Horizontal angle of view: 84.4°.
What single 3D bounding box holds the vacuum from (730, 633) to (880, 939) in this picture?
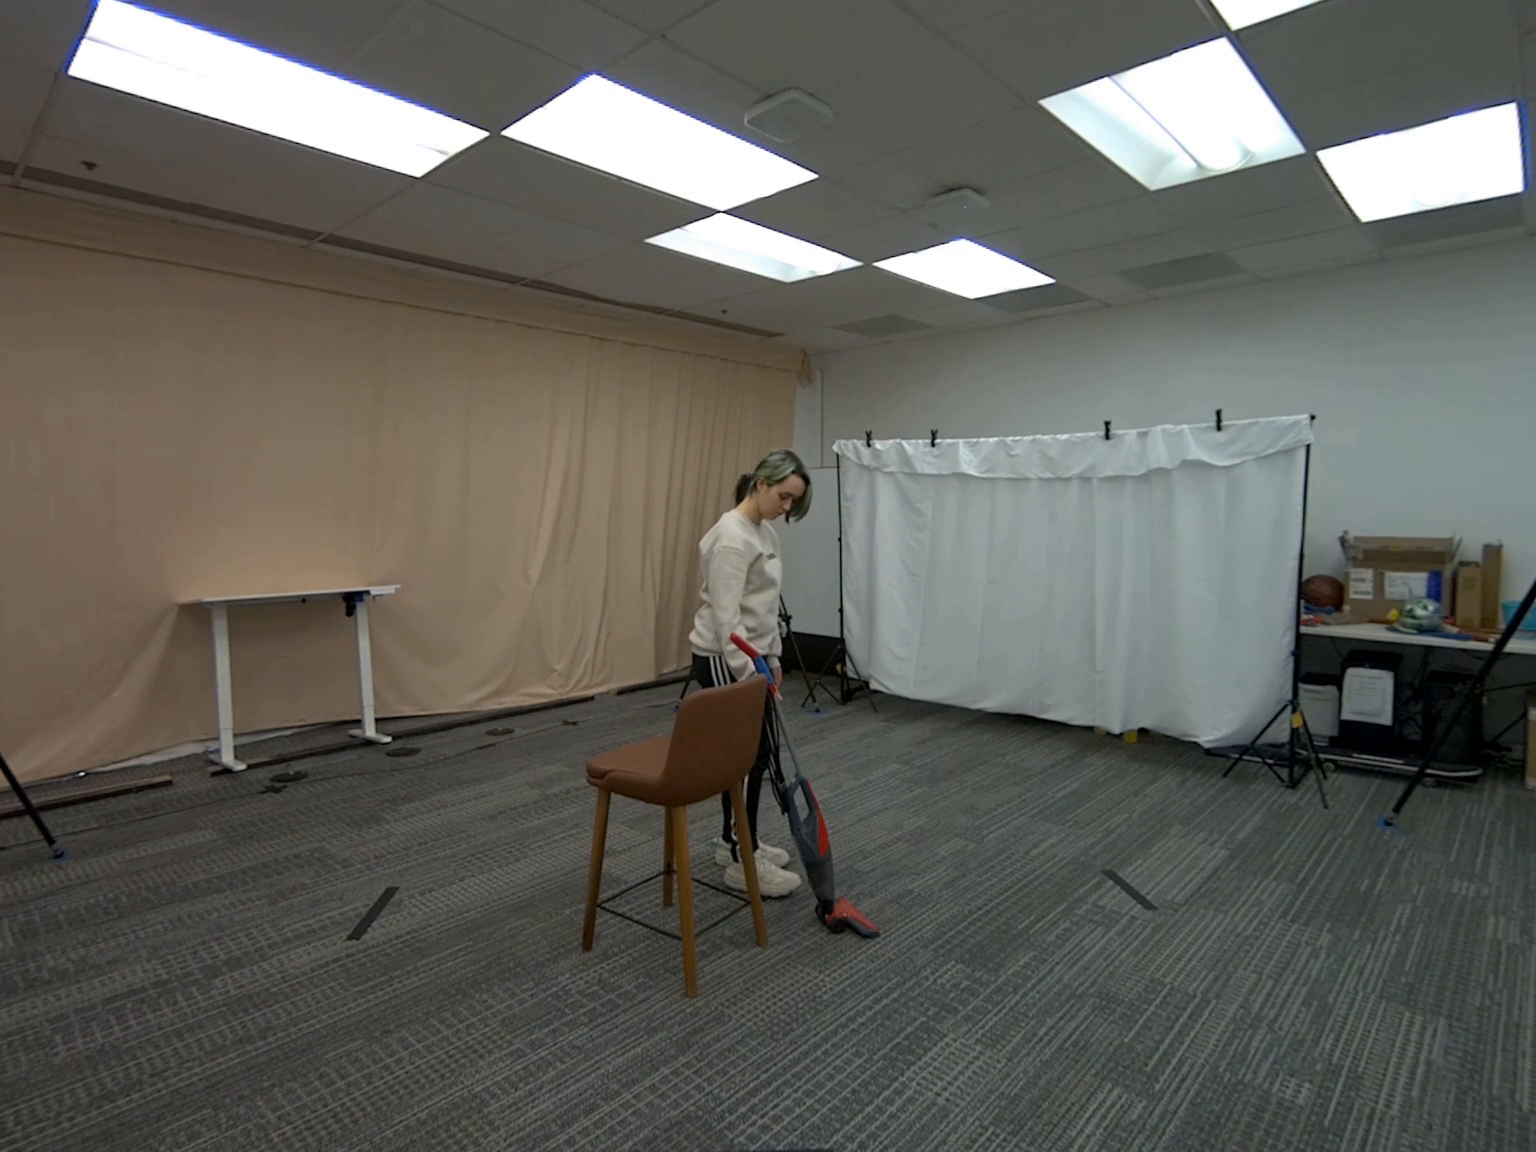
[{"bbox_3d":[0.089,0.677,2.732,0.142,1.039,0.258,-23,10,-19],"label":"vacuum"}]
